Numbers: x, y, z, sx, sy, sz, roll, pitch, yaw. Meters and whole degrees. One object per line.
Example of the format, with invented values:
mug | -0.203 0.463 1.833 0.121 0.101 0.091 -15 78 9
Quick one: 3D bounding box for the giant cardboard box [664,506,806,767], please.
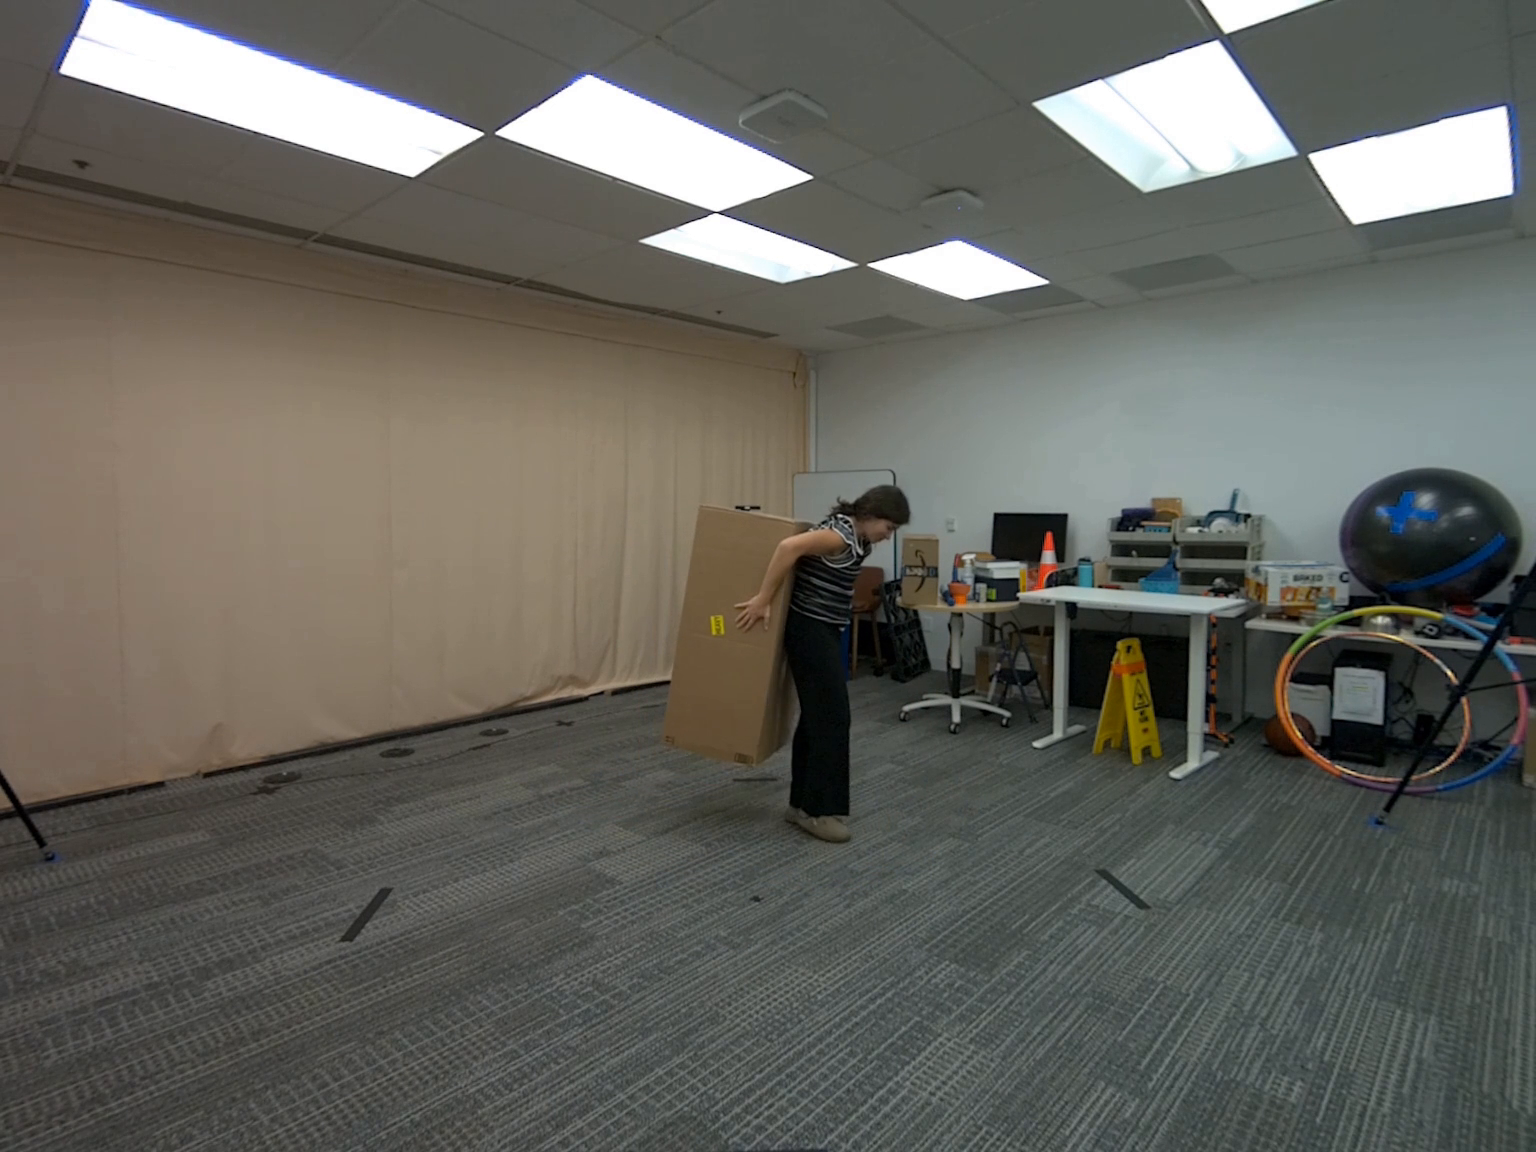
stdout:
giant cardboard box | -0.093 0.239 3.717 0.435 1.024 0.567 10 3 17
